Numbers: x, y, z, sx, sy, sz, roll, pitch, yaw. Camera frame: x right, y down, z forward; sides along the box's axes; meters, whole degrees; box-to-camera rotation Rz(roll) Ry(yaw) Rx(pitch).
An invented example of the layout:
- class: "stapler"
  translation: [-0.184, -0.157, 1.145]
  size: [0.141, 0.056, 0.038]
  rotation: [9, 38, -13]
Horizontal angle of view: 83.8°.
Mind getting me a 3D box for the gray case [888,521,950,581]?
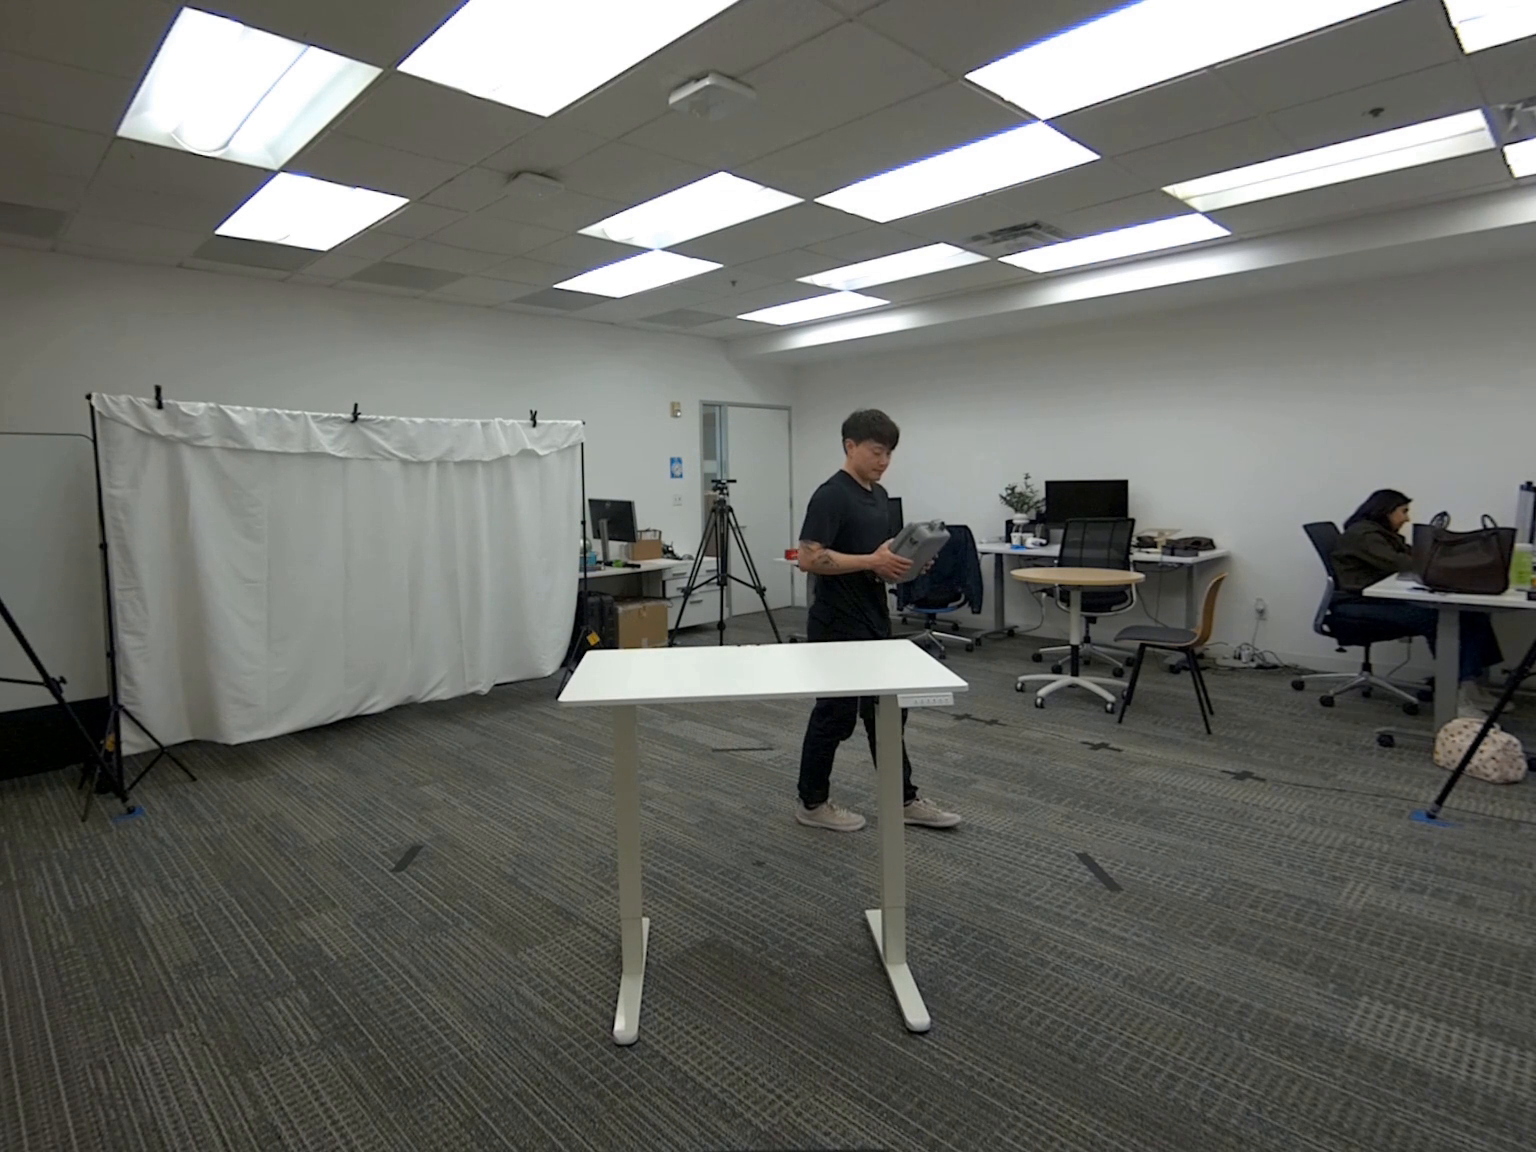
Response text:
- class: "gray case"
  translation: [0.541, -0.098, 3.216]
  size: [0.107, 0.260, 0.250]
  rotation: [48, 27, 21]
